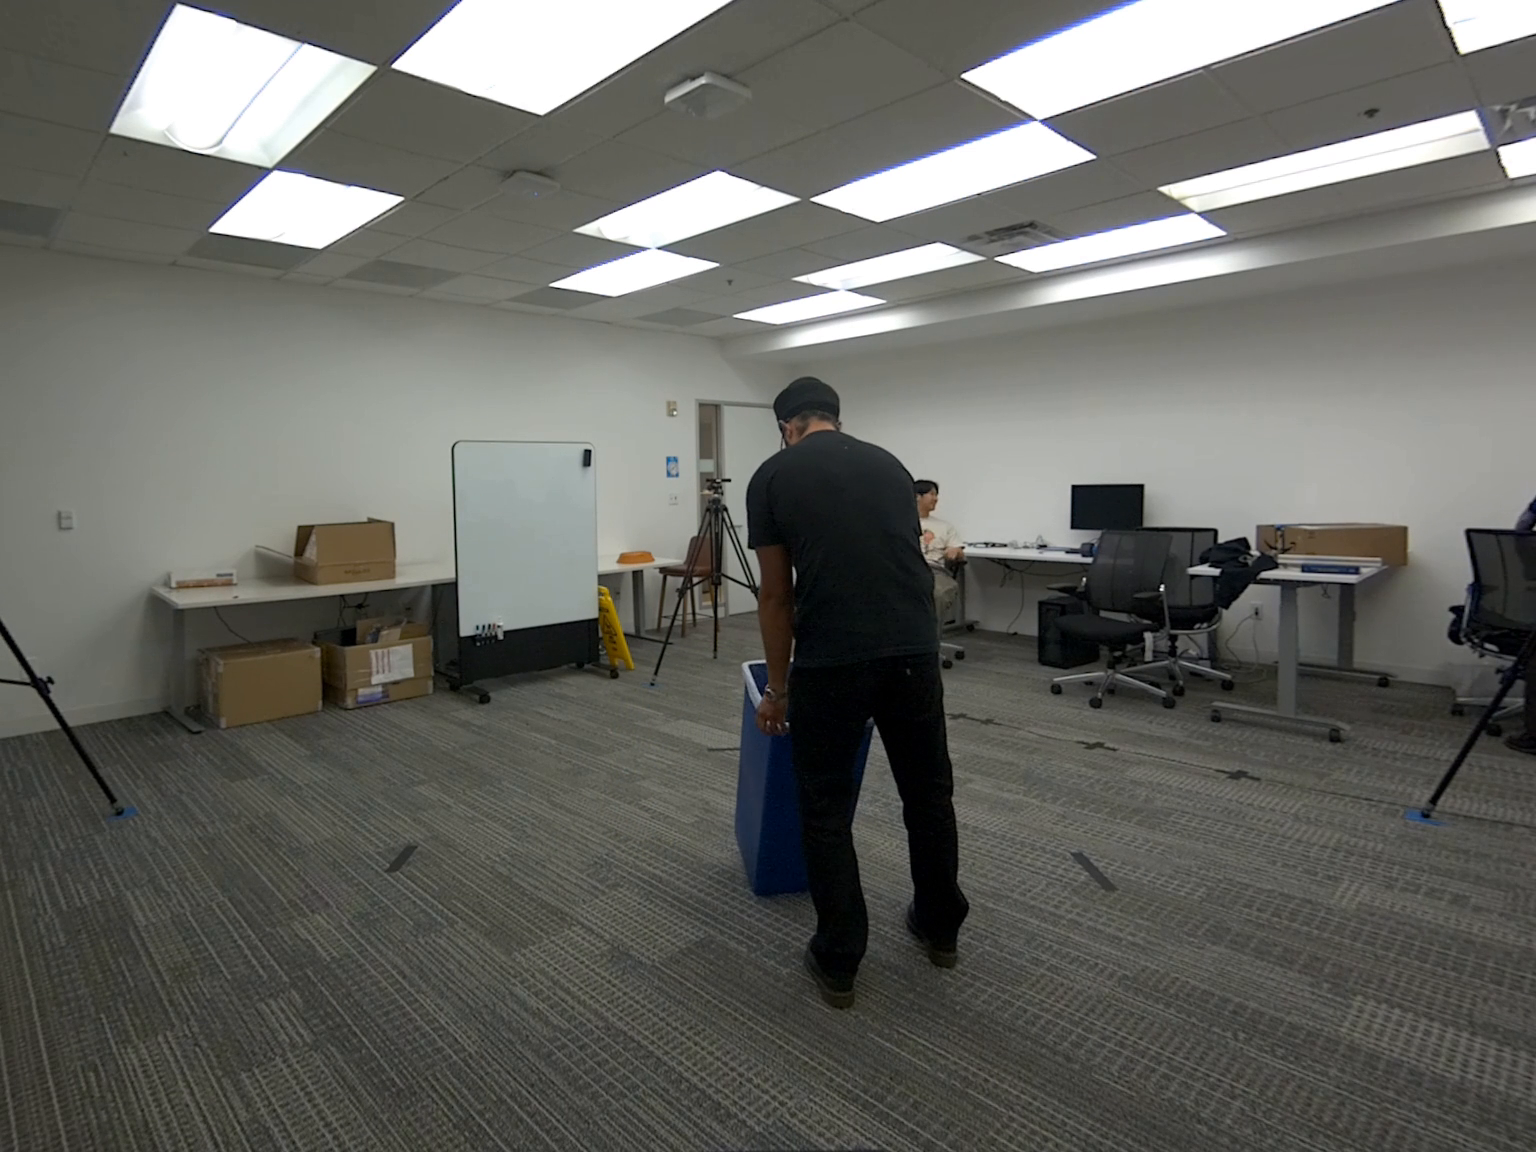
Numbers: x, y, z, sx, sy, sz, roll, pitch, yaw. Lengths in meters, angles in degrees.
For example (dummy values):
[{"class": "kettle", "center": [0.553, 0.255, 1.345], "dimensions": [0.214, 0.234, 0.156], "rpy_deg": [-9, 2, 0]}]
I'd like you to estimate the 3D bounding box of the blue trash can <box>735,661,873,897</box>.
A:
[{"class": "blue trash can", "center": [0.104, 0.685, 2.862], "dimensions": [0.372, 0.701, 0.386], "rpy_deg": [-2, 24, -17]}]
